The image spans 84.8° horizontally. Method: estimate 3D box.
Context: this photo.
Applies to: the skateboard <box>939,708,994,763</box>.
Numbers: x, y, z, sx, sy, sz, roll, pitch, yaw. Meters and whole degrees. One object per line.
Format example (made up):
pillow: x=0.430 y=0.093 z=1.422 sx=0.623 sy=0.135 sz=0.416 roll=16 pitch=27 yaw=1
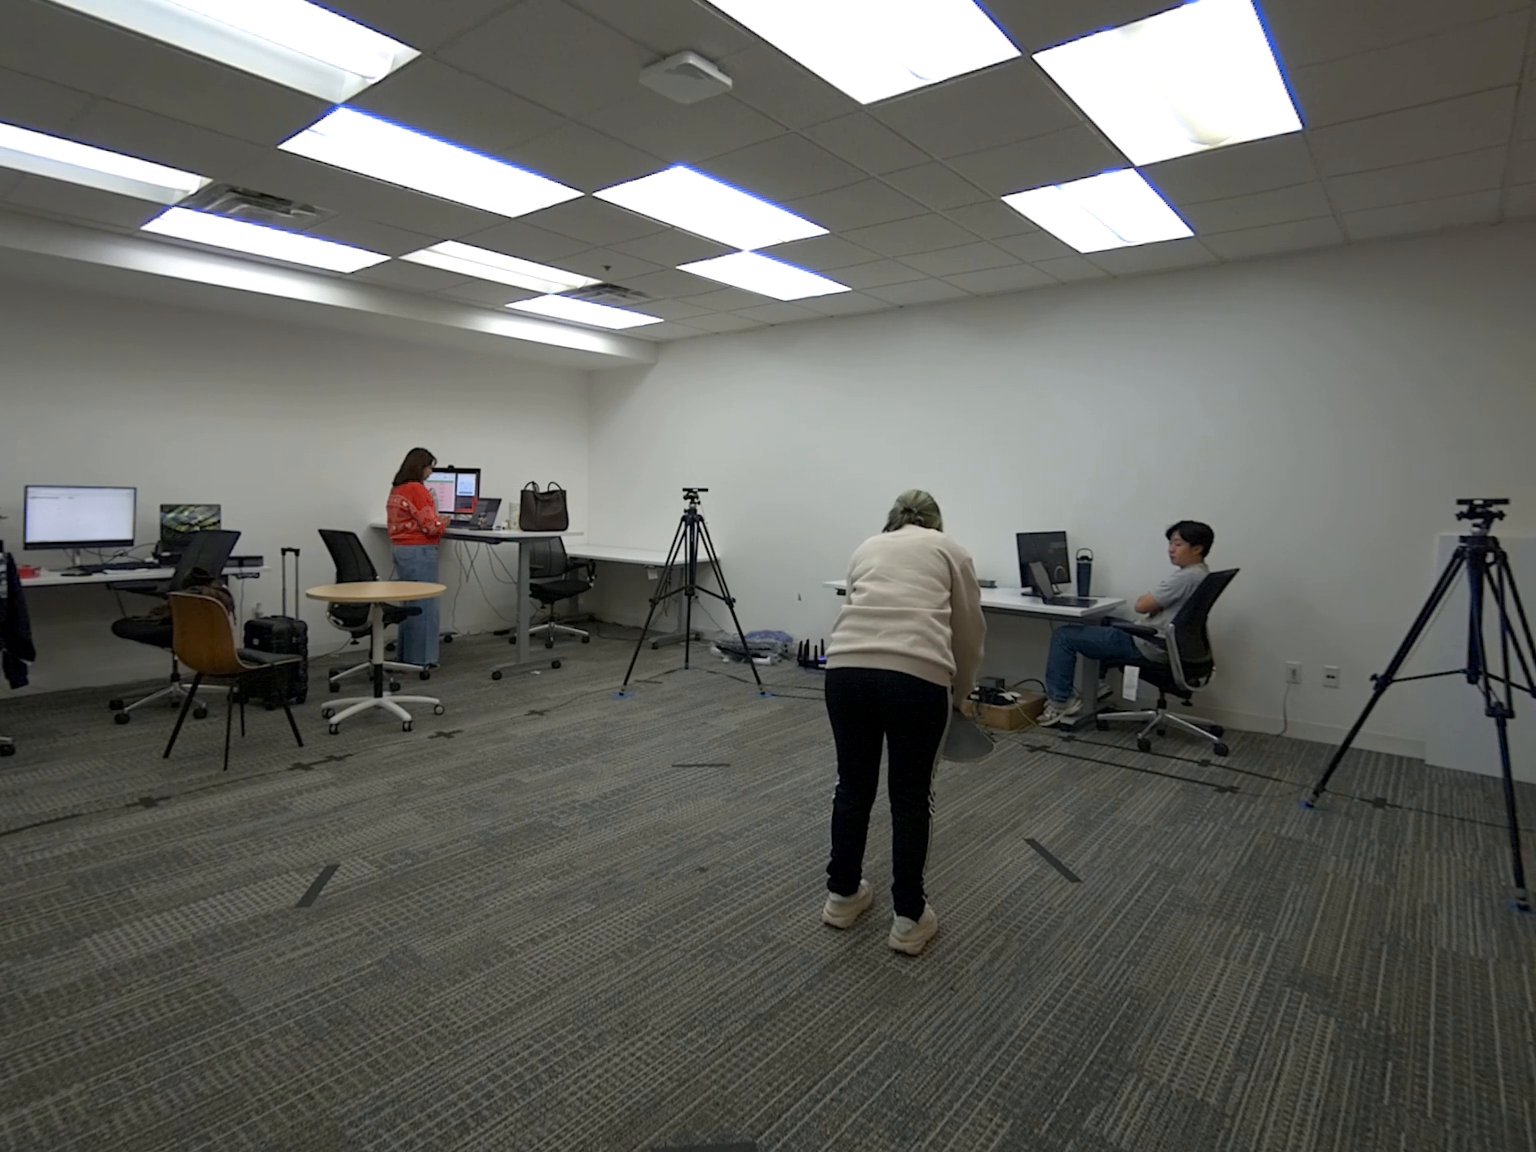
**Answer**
skateboard: x=0.544 y=0.487 z=3.005 sx=0.192 sy=0.108 sz=0.807 roll=-11 pitch=21 yaw=-10
